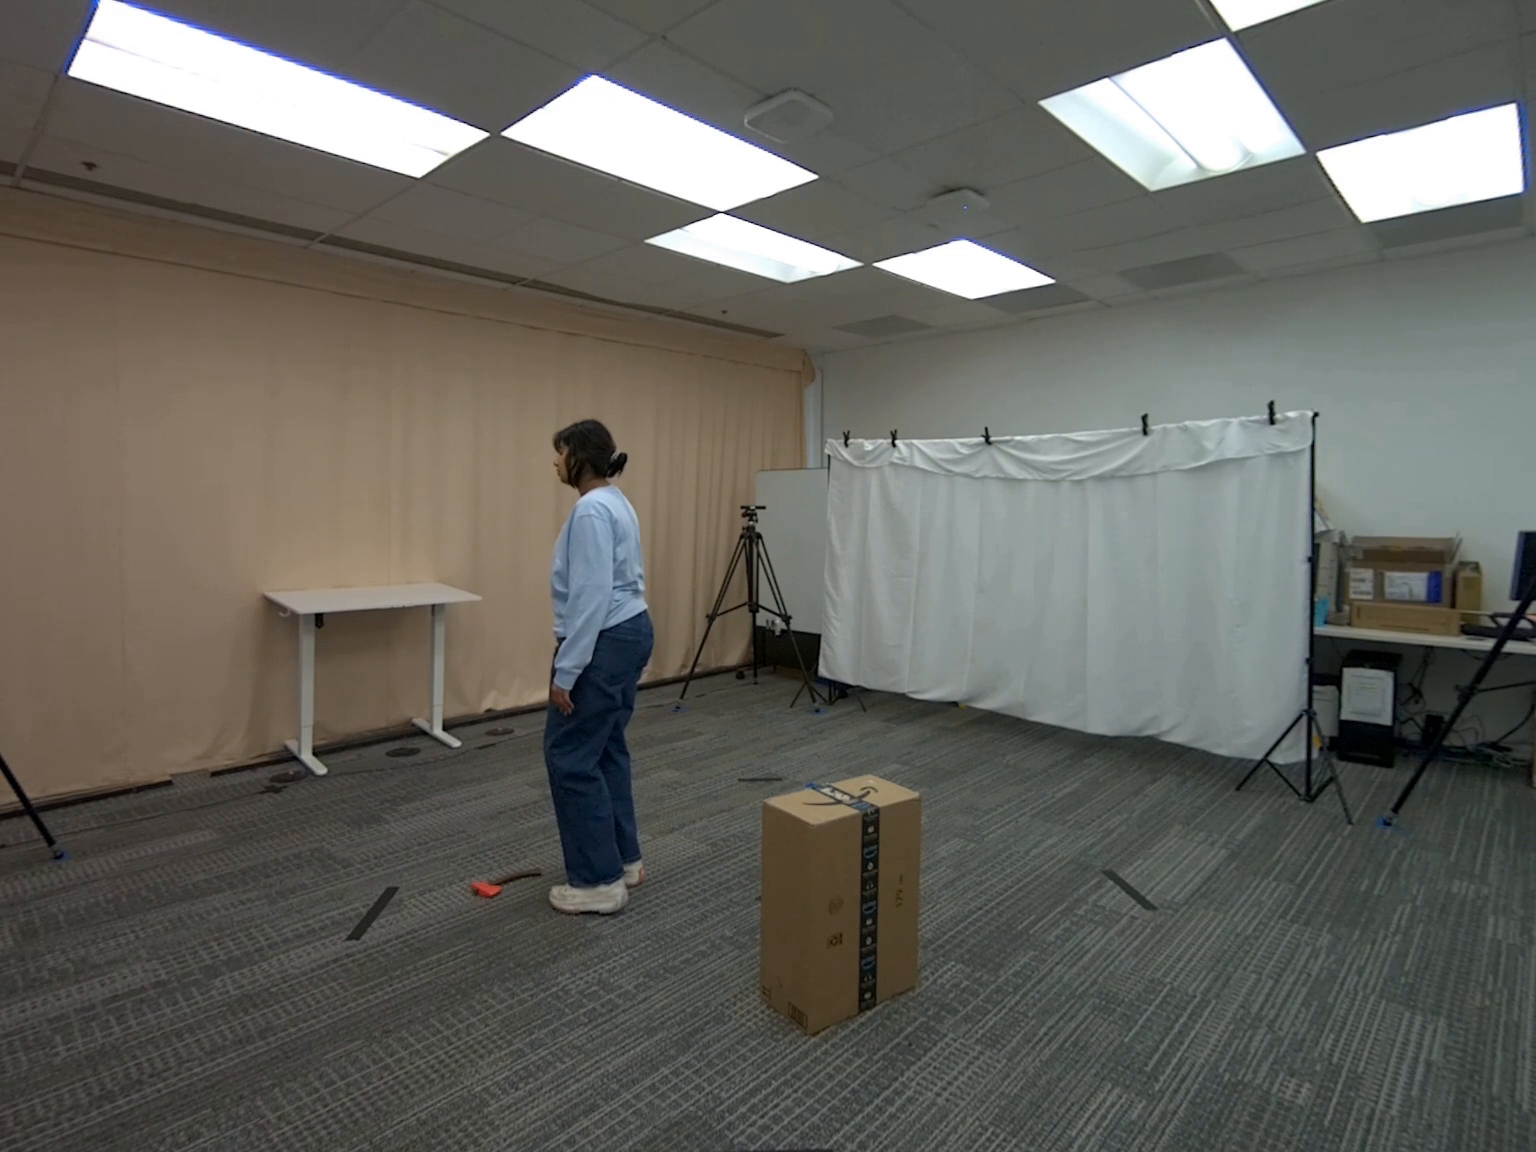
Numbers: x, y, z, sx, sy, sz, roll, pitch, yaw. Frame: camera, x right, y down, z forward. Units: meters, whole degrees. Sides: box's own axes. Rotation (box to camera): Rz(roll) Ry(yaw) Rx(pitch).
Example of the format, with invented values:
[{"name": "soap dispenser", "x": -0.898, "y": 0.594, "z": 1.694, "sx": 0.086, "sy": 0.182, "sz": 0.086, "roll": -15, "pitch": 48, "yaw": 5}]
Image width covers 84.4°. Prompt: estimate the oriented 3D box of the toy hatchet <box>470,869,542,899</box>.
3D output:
[{"name": "toy hatchet", "x": -0.961, "y": 1.139, "z": 3.097, "sx": 0.262, "sy": 0.029, "sz": 0.135, "roll": -1, "pitch": 3, "yaw": -33}]
